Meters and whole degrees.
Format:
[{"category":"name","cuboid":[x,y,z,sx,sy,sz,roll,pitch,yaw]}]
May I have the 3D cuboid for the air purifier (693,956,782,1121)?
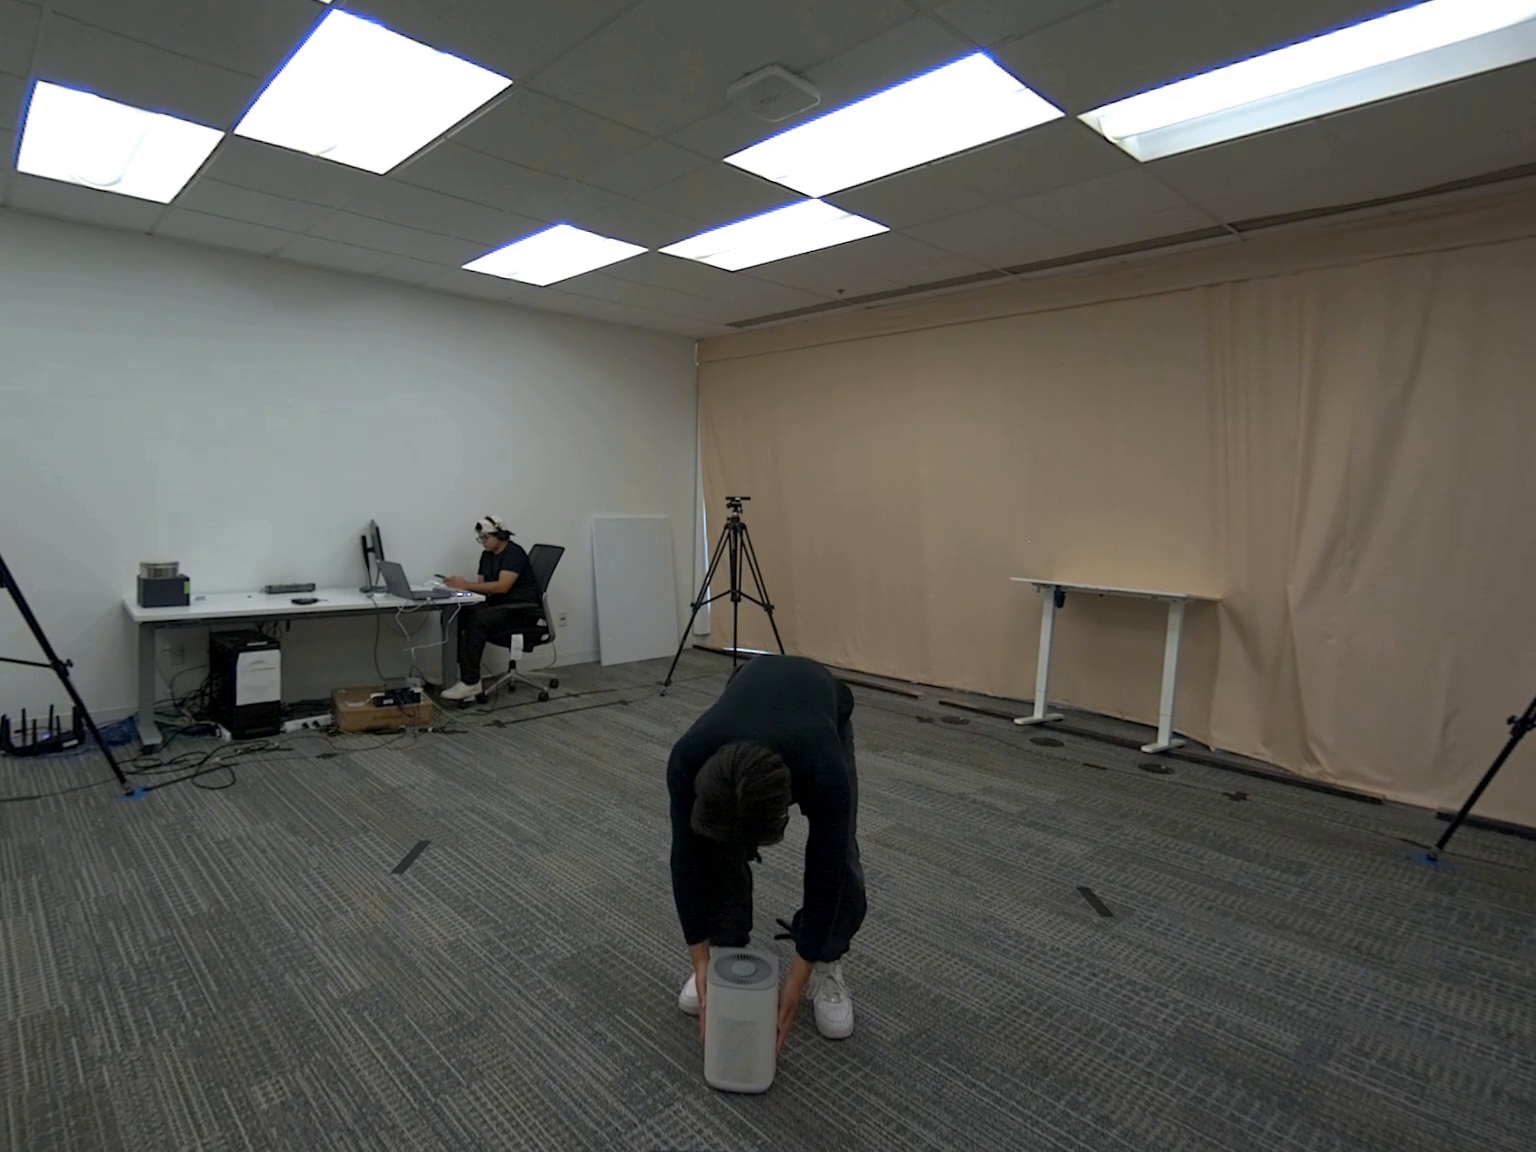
[{"category":"air purifier","cuboid":[-0.070,1.089,2.009,0.172,0.265,0.170,5,3,4]}]
